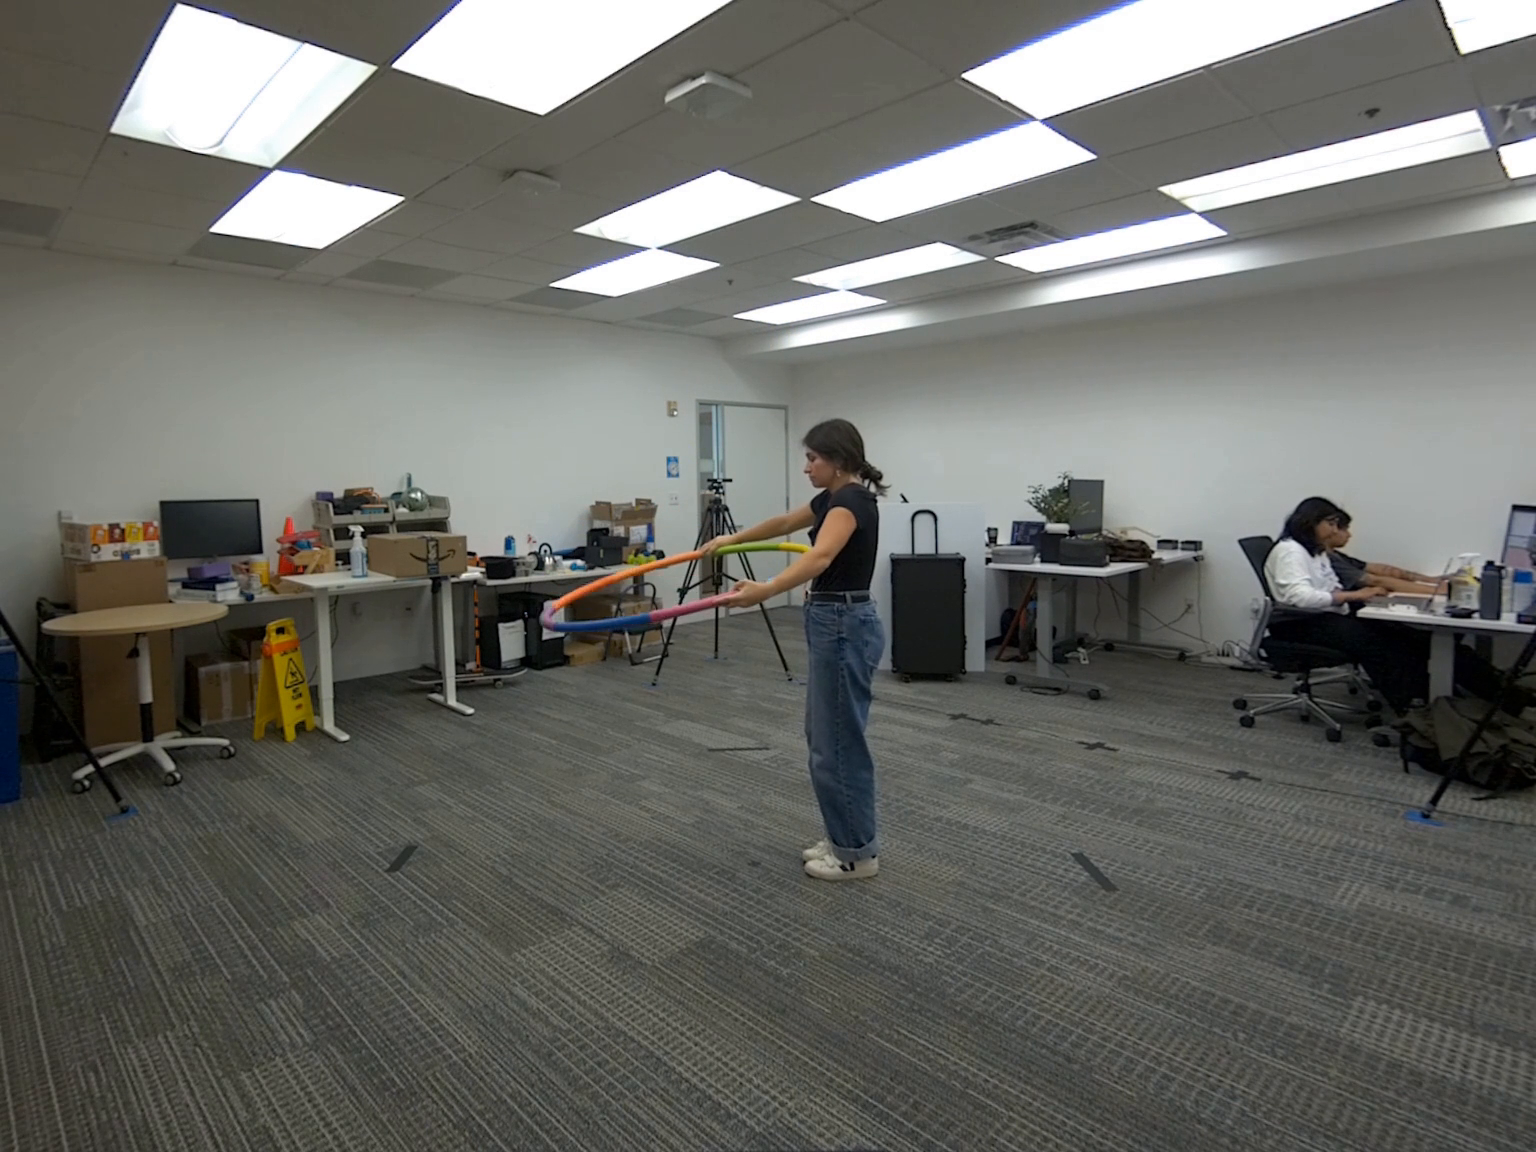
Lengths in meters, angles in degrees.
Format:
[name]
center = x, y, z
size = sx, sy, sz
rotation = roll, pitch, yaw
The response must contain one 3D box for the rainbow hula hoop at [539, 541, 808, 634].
[rainbow hula hoop]
center = -0.293, 0.017, 2.962
size = 0.980, 0.035, 0.988
rotation = -15, 11, 1
